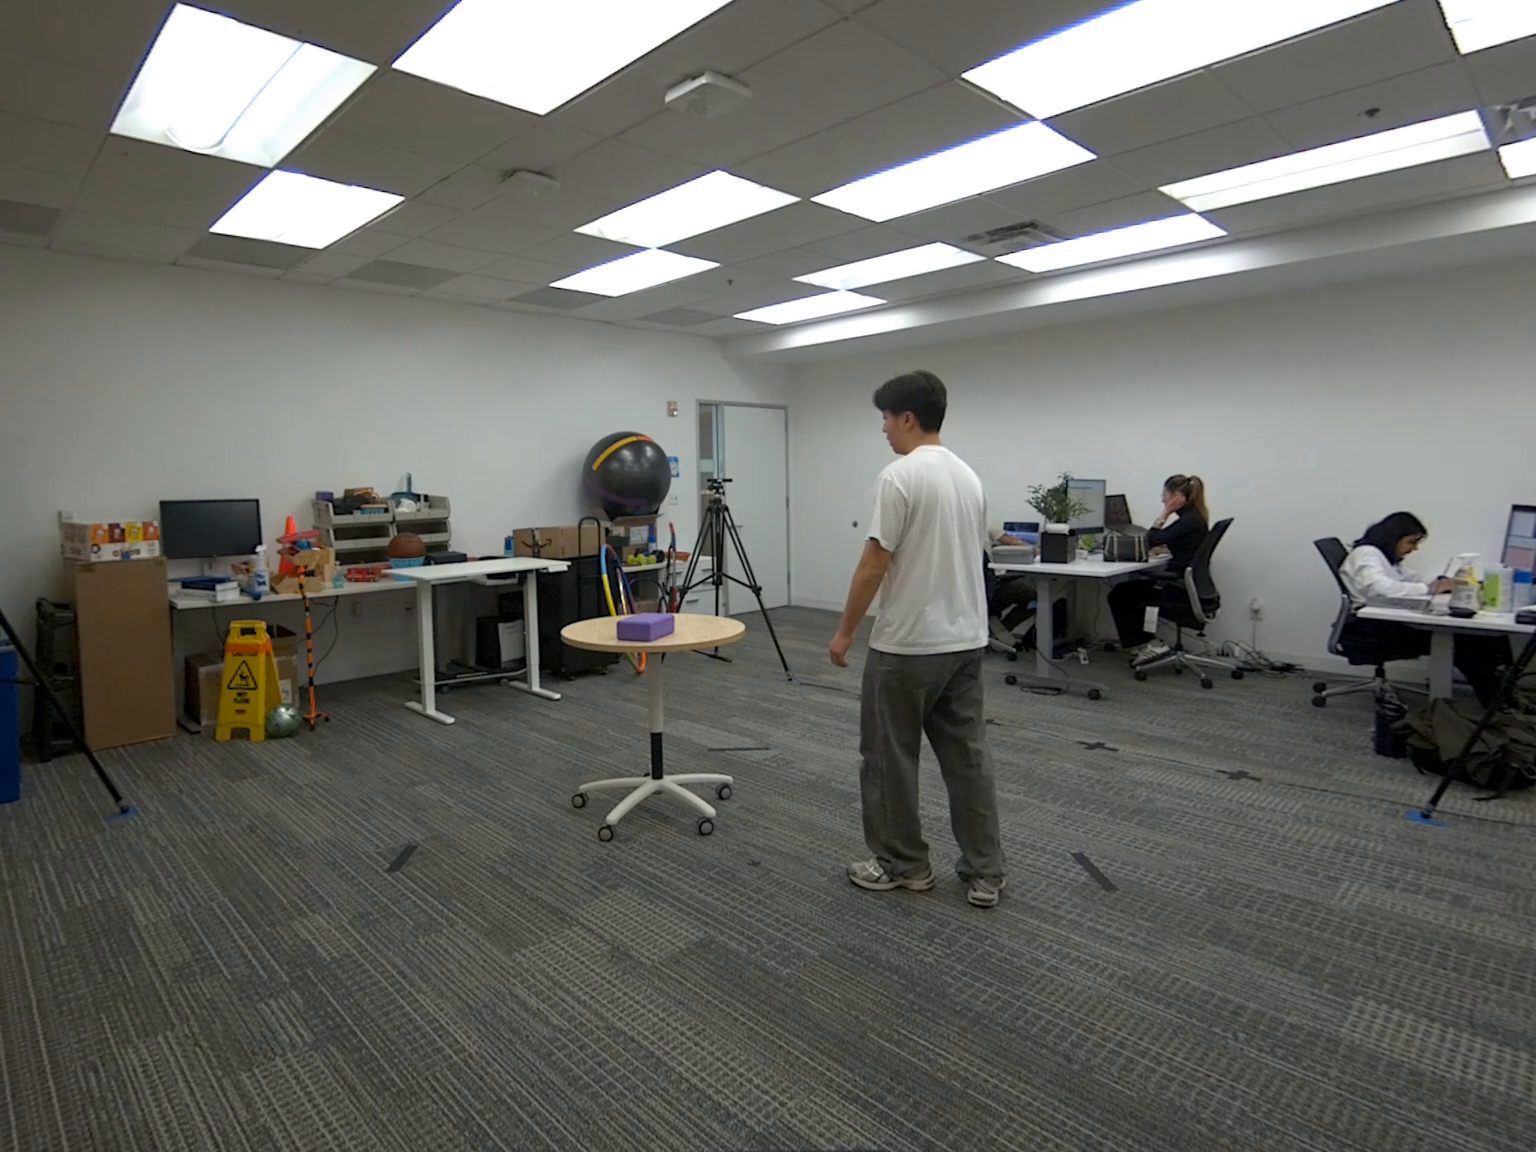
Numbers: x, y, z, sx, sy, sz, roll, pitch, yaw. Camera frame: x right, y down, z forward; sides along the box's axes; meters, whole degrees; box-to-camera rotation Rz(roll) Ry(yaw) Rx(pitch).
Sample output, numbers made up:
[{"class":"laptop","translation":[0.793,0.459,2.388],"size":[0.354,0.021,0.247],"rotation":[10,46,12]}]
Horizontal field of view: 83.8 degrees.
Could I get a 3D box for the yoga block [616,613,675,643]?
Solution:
[{"class":"yoga block","translation":[-0.485,0.201,3.395],"size":[0.152,0.076,0.226],"rotation":[1,6,19]}]
